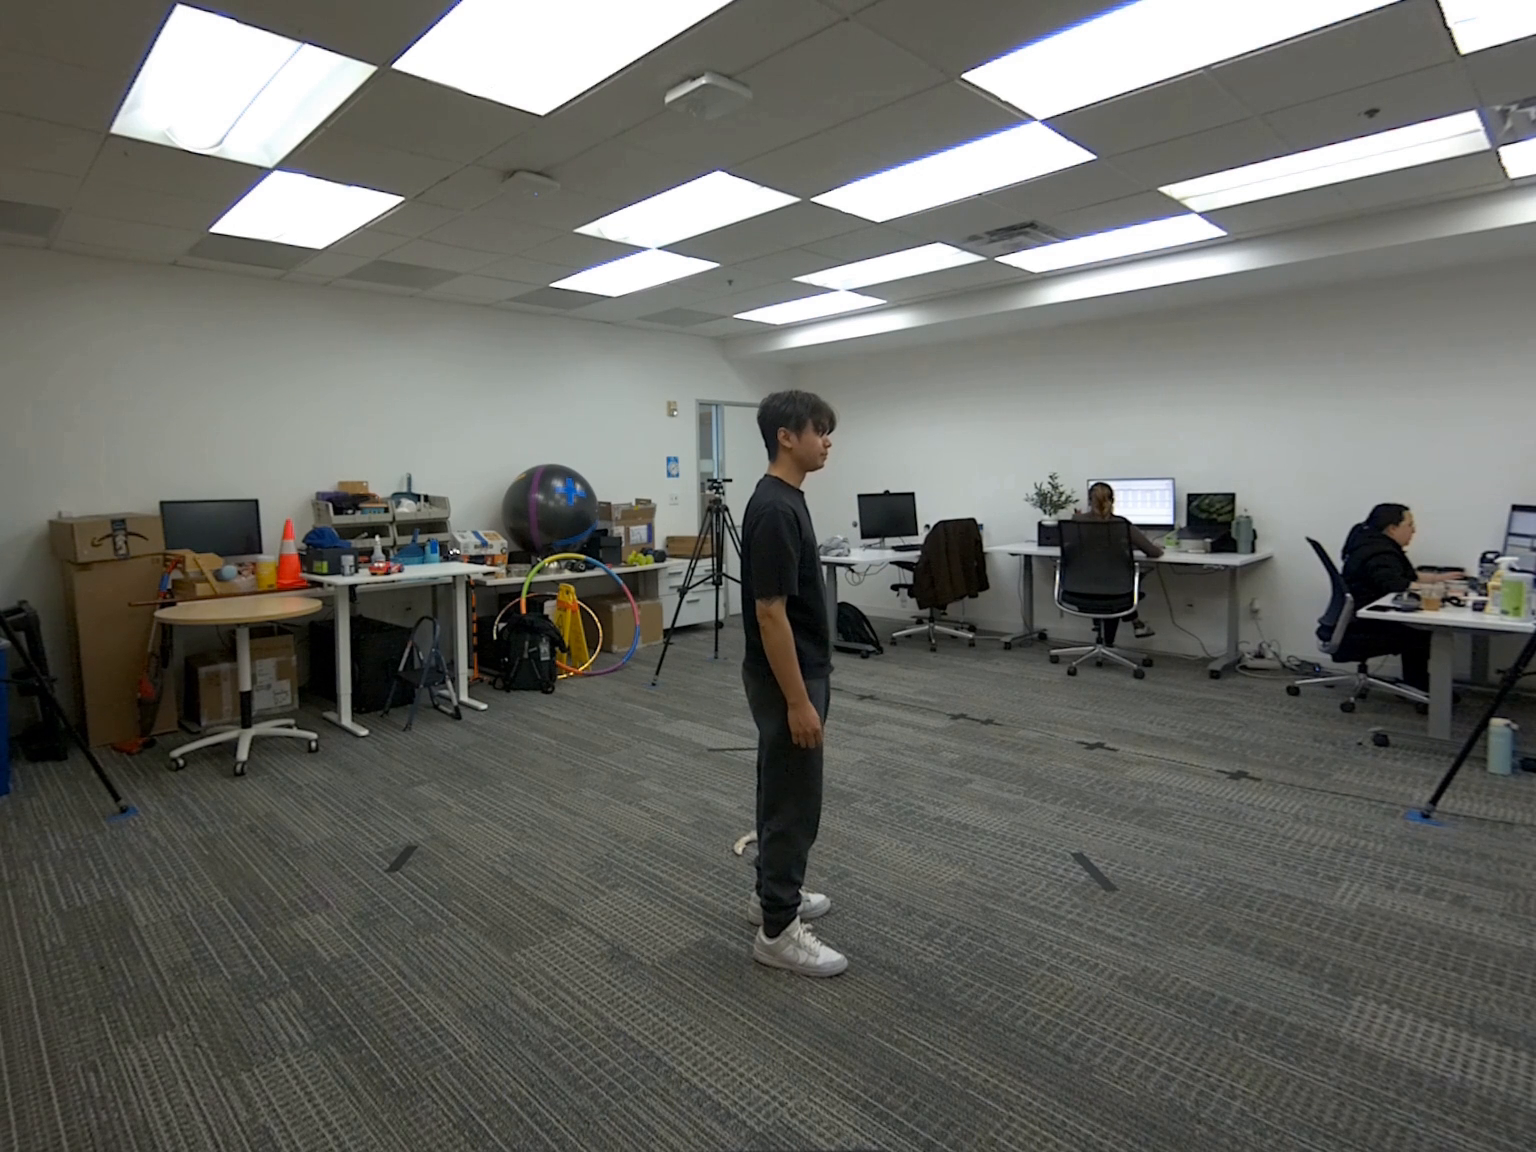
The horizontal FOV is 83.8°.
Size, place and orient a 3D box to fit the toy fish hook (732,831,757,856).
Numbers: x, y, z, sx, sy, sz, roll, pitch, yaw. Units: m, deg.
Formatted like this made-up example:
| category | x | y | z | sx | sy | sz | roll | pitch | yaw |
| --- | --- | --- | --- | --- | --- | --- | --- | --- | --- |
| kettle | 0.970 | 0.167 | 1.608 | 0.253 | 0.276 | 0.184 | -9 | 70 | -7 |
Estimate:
| category | x | y | z | sx | sy | sz | roll | pitch | yaw |
| --- | --- | --- | --- | --- | --- | --- | --- | --- | --- |
| toy fish hook | -0.018 | 1.033 | 3.094 | 0.226 | 0.048 | 0.505 | -8 | 5 | 7 |
